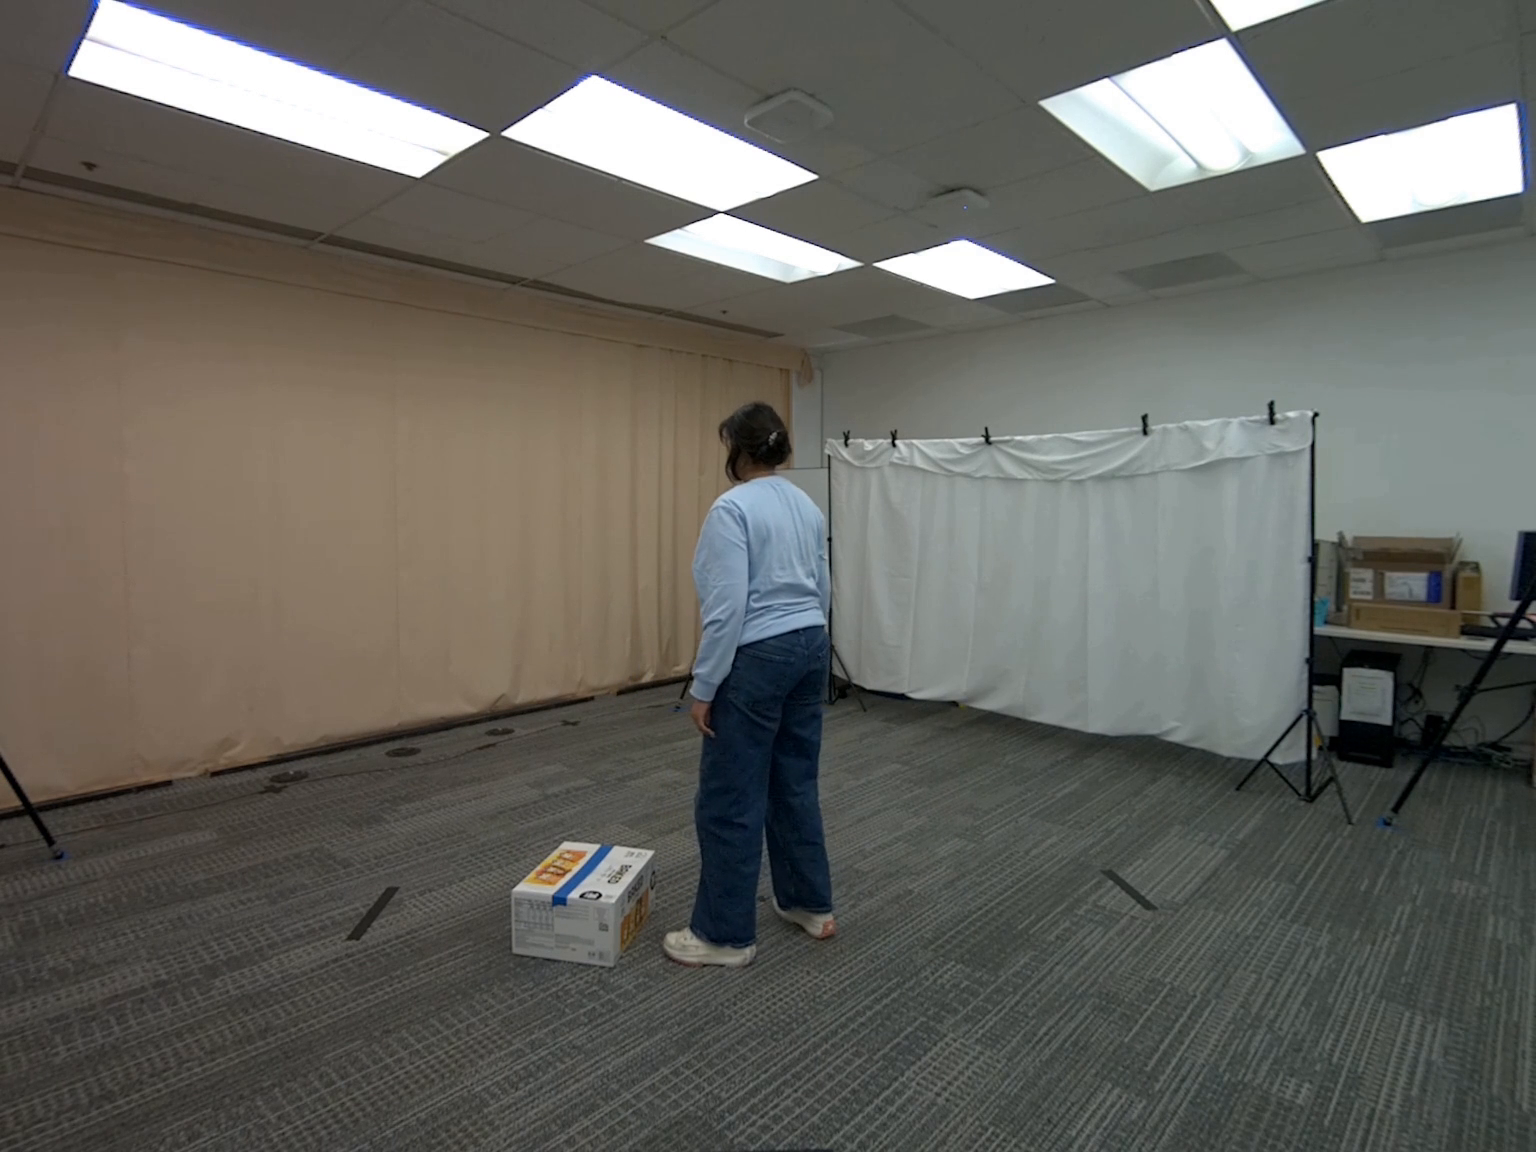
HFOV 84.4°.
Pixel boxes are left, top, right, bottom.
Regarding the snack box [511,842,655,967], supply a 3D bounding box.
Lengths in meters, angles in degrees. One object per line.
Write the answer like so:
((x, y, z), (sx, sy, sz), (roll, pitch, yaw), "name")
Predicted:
((-0.594, 1.072, 2.756), (0.345, 0.205, 0.400), (0, 4, 12), "snack box")
